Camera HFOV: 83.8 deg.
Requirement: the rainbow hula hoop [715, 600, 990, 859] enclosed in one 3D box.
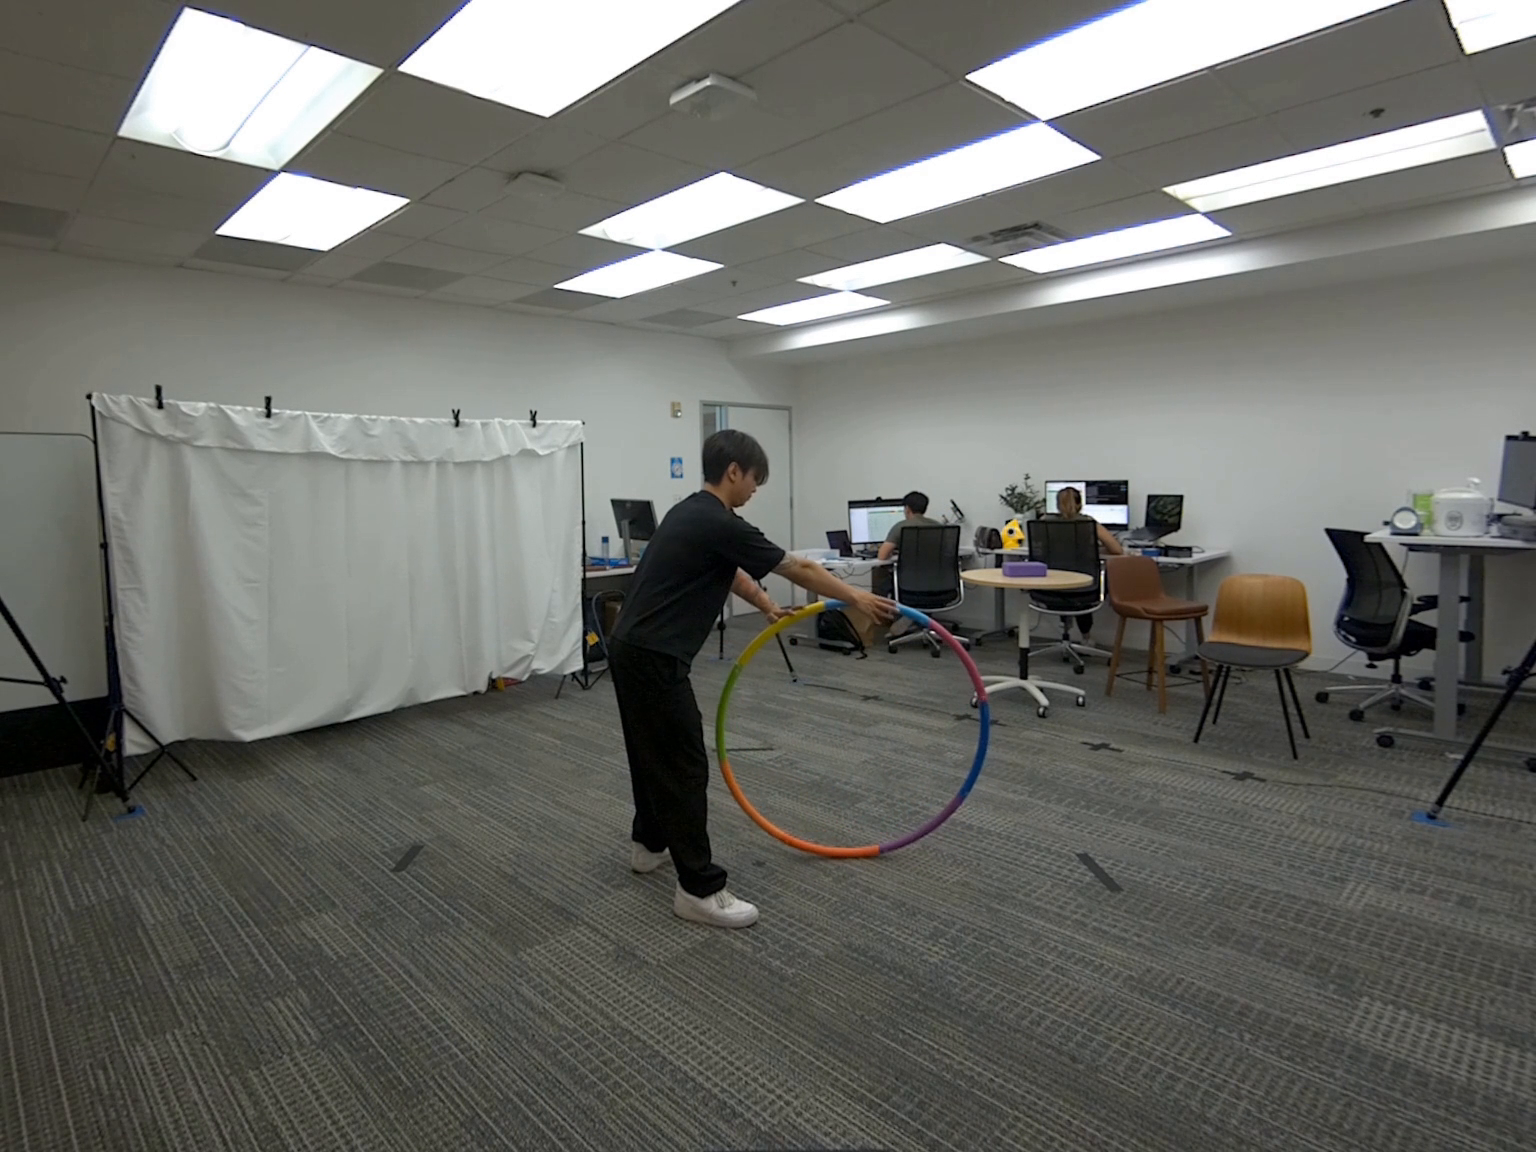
[{"bbox_3d":[0.311,0.562,3.075,0.980,0.970,0.036,-1,9,2],"label":"rainbow hula hoop"}]
